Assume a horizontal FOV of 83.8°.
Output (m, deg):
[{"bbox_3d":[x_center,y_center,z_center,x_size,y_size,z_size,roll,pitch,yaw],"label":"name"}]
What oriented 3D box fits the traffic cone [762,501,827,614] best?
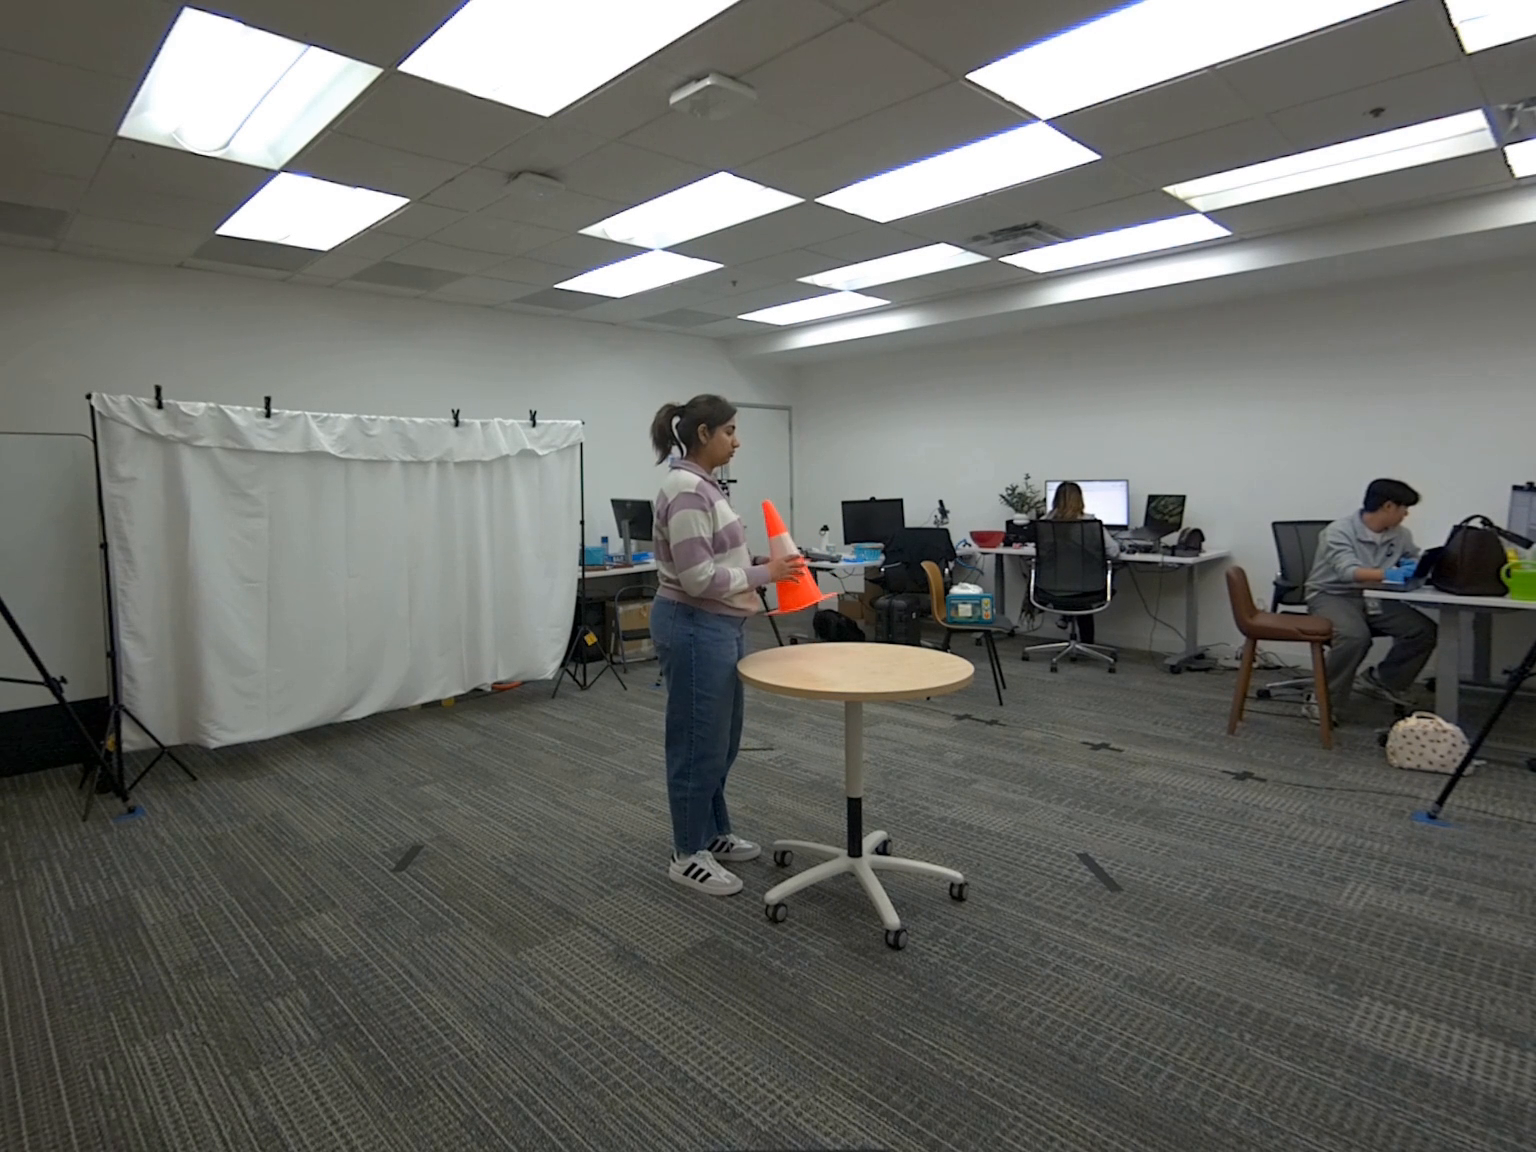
[{"bbox_3d":[0.056,-0.075,2.975,0.201,0.383,0.207,-20,1,-42],"label":"traffic cone"}]
